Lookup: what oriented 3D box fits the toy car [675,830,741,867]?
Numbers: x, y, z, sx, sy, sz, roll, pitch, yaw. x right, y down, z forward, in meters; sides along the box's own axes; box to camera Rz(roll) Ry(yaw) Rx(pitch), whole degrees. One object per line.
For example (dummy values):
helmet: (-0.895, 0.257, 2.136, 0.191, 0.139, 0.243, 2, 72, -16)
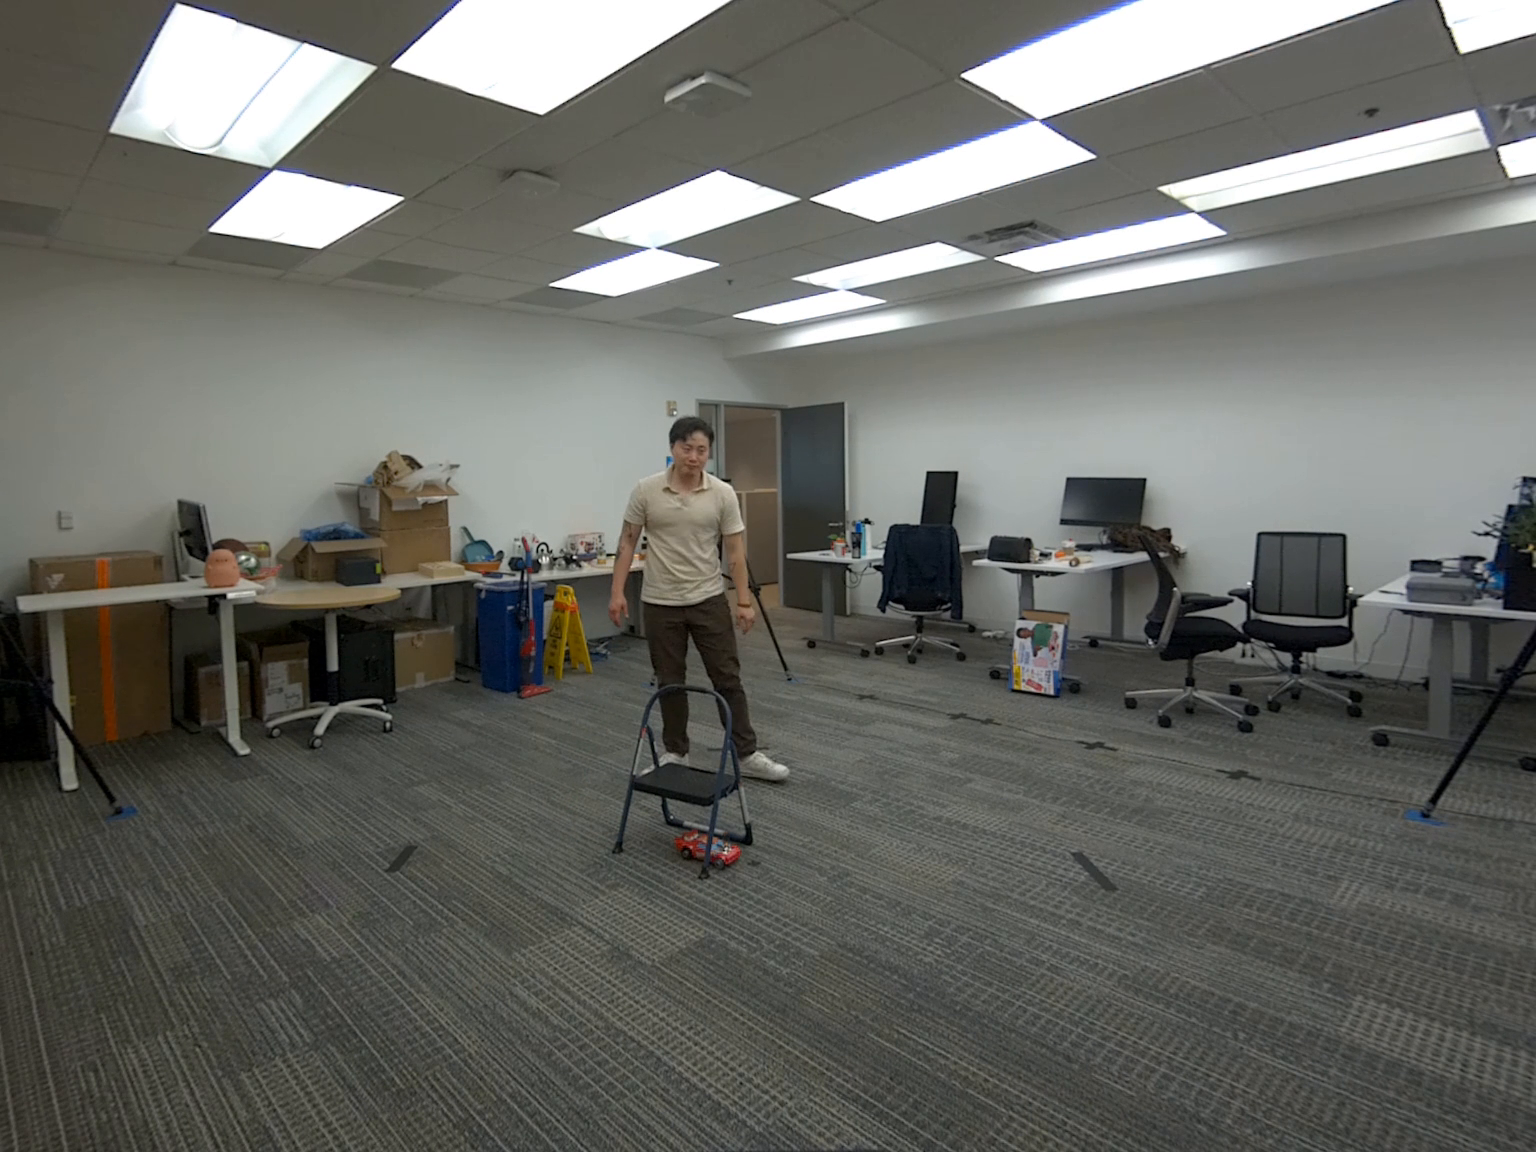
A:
toy car: (-0.231, 1.014, 3.156, 0.263, 0.082, 0.127, 16, 13, 33)
